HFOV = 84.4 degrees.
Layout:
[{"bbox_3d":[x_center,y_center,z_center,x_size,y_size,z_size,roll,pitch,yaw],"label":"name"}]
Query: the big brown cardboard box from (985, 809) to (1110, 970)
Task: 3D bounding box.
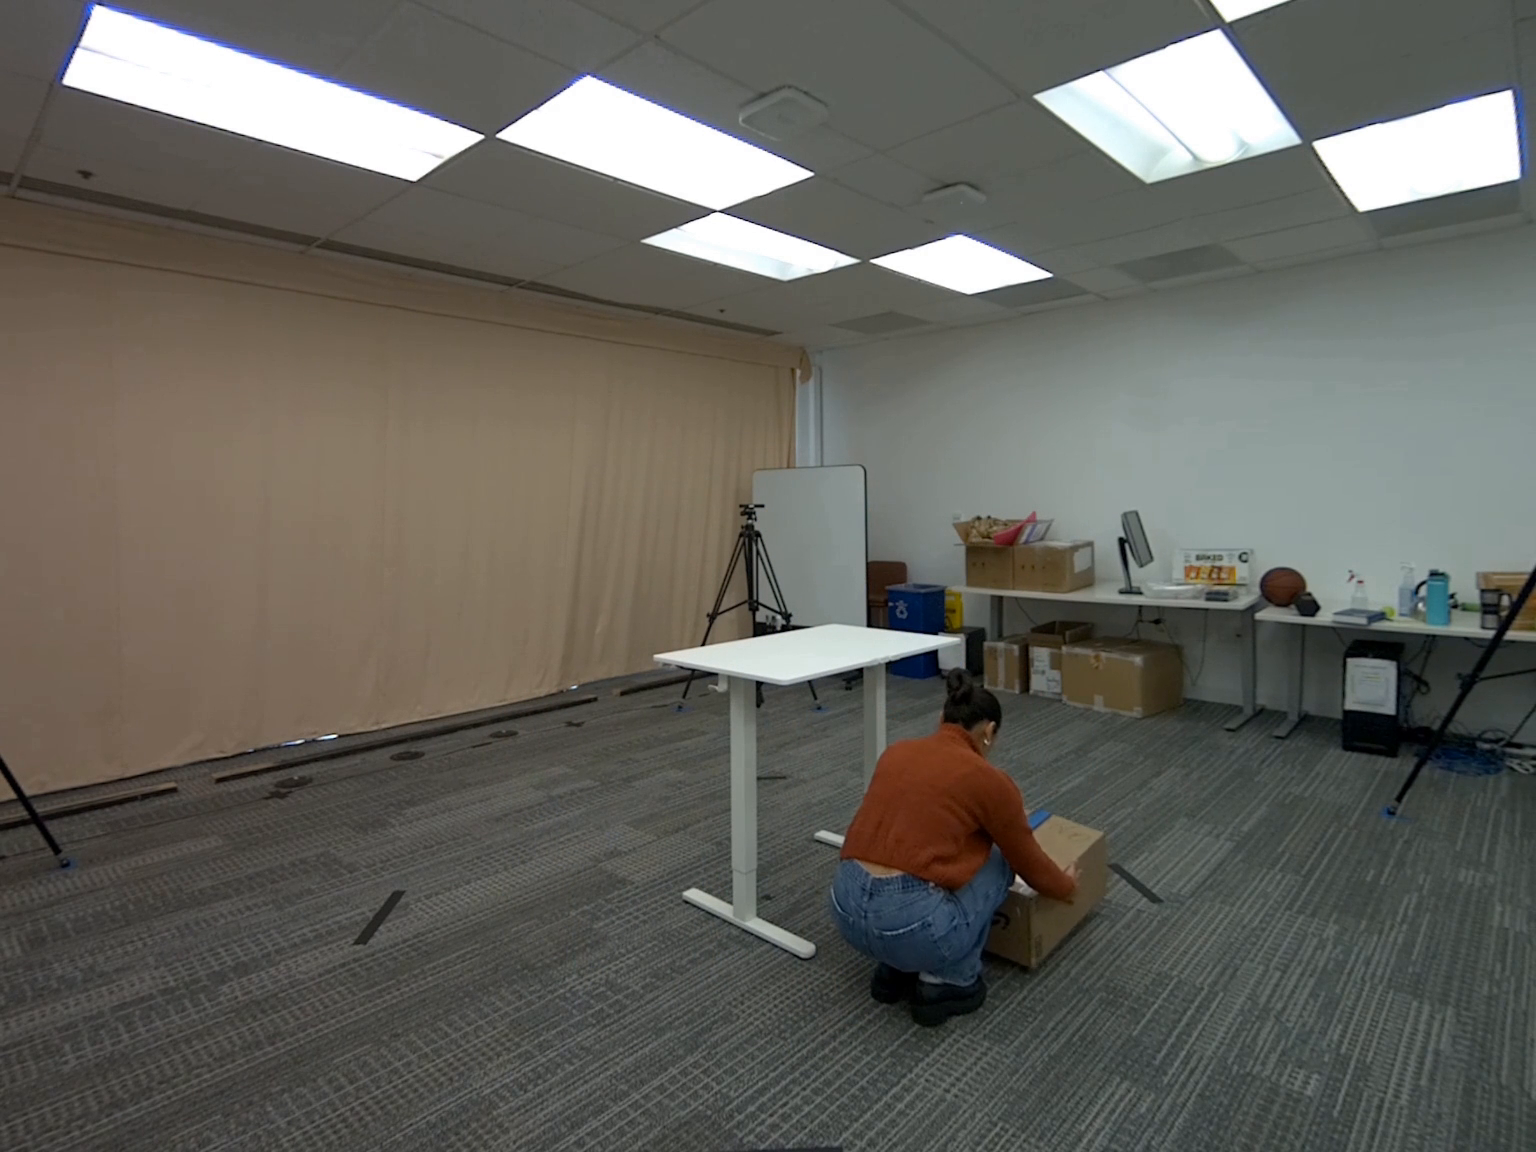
[{"bbox_3d":[0.798,0.982,2.764,0.431,0.232,0.572,3,8,42],"label":"big brown cardboard box"}]
